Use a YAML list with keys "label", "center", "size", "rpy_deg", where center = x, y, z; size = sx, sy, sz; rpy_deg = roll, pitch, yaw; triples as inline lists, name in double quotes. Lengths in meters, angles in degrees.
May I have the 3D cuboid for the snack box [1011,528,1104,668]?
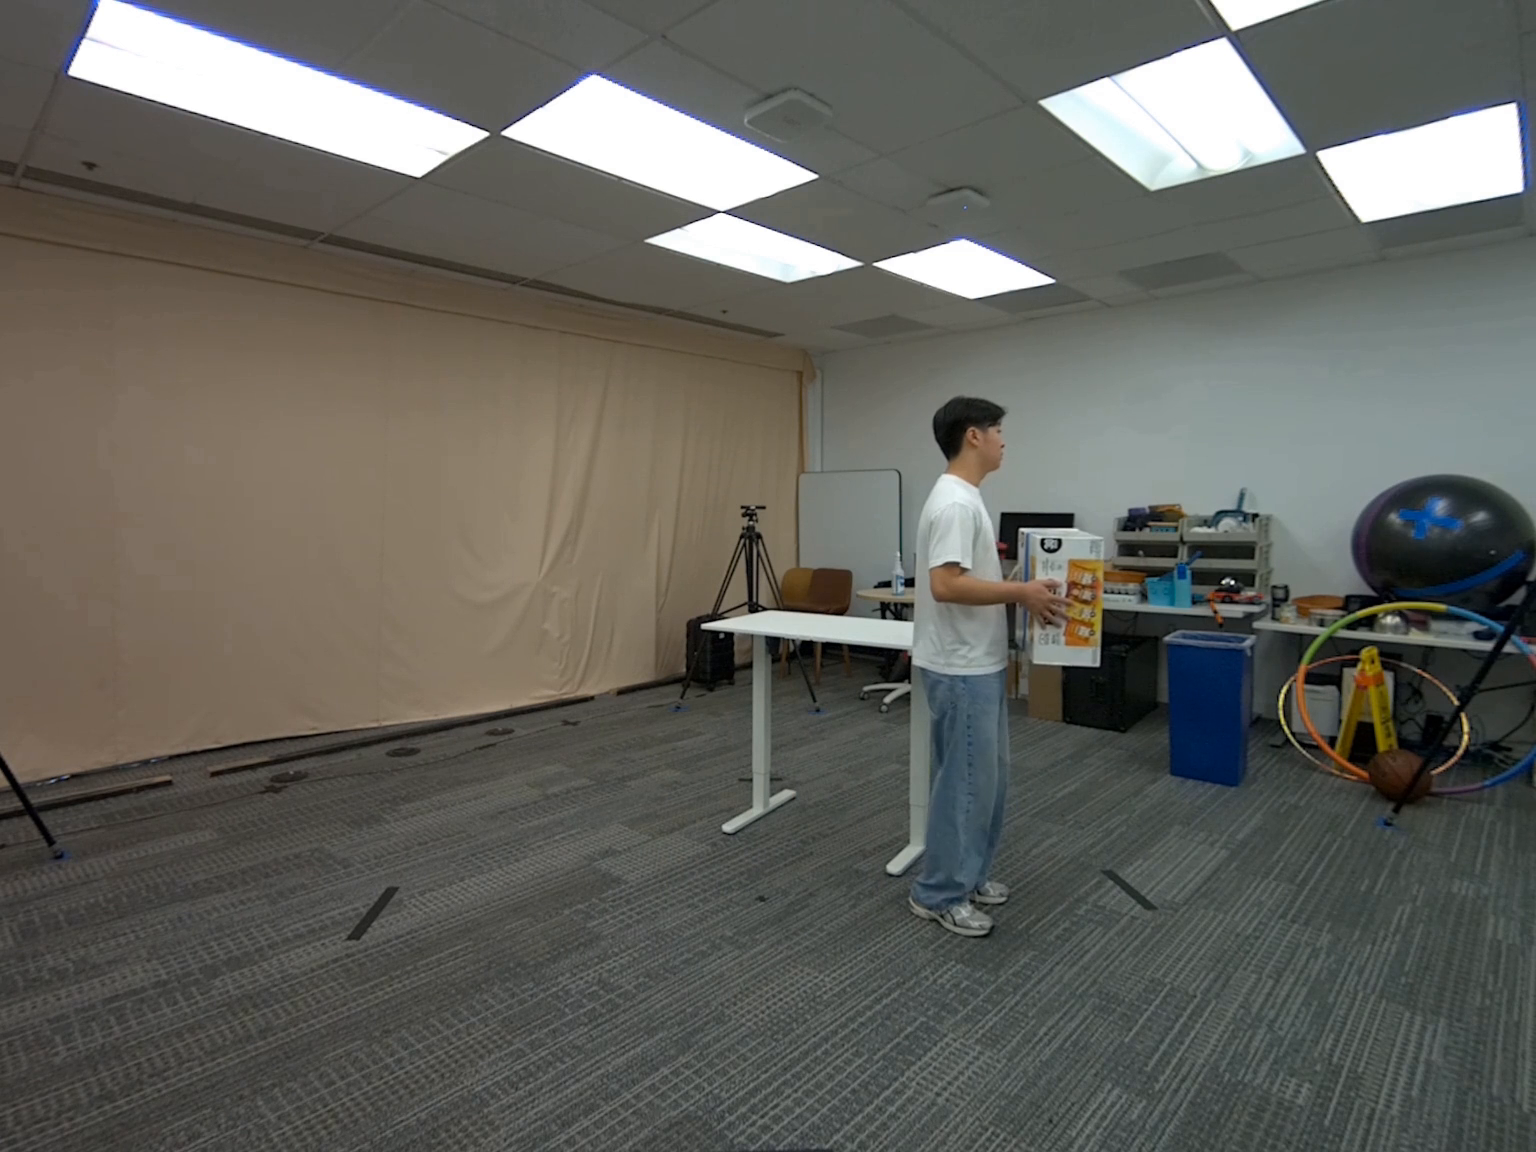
- label: "snack box"
  center: [0.973, 0.060, 2.792]
  size: [0.208, 0.404, 0.338]
  rpy_deg: [0, 6, 7]
